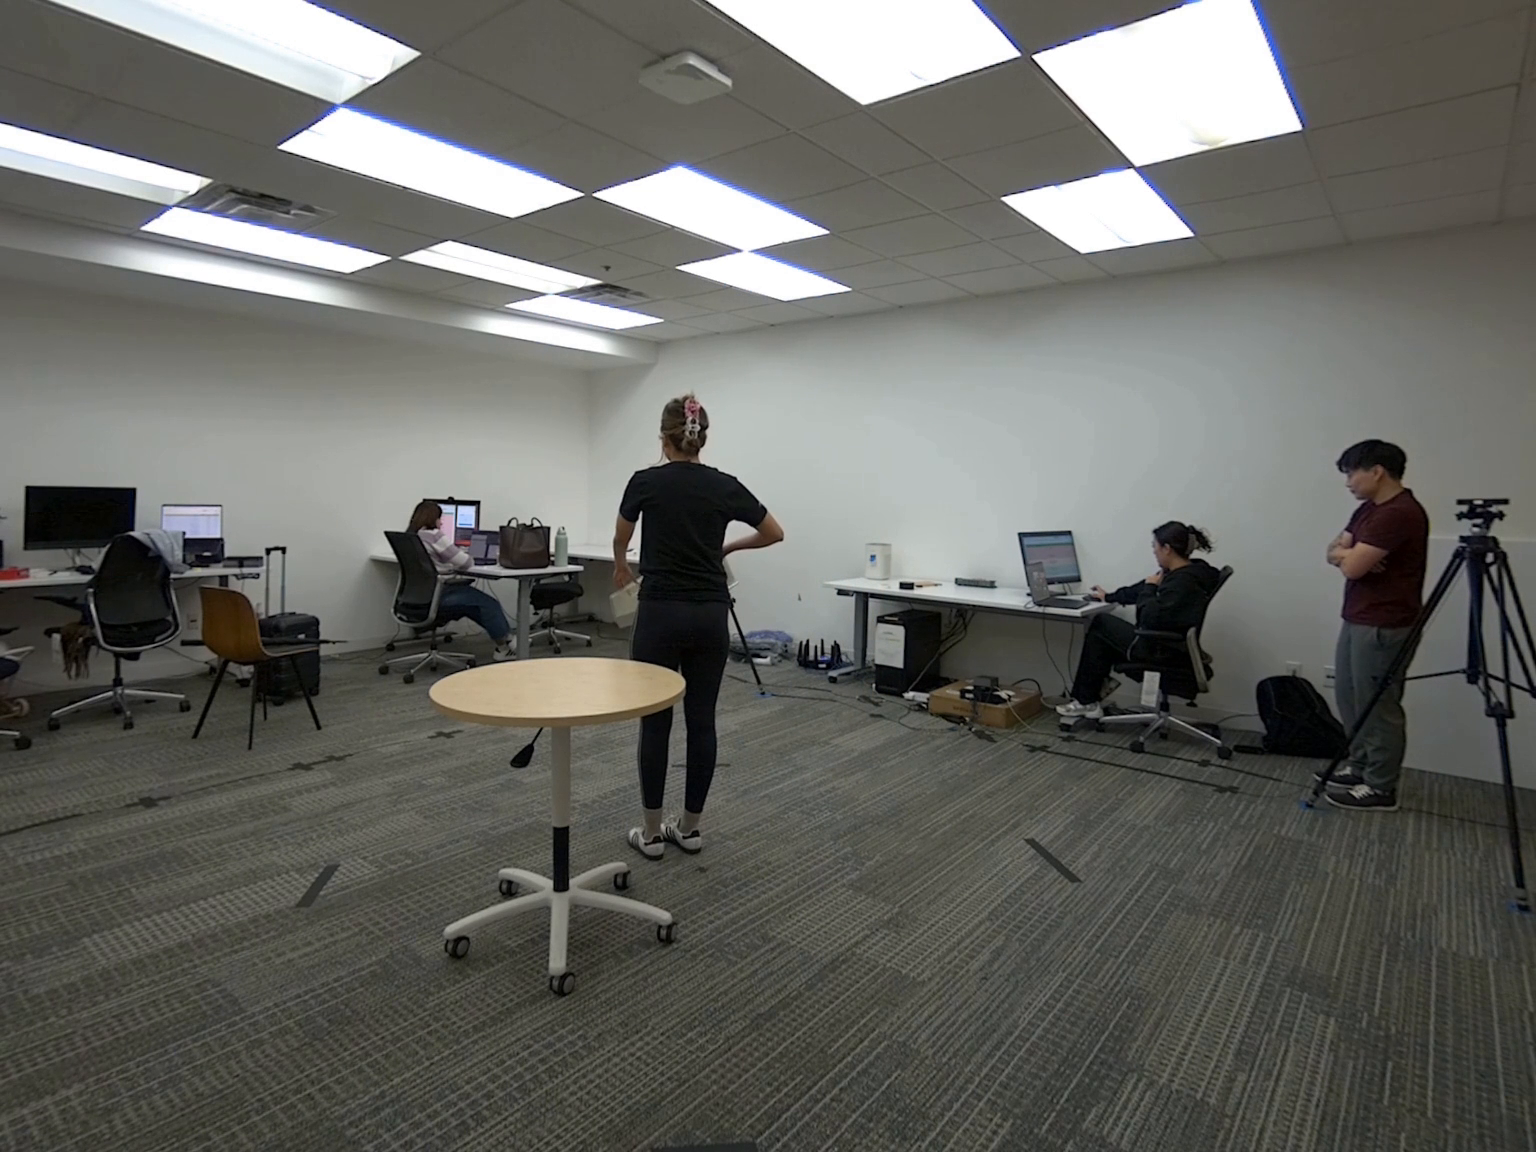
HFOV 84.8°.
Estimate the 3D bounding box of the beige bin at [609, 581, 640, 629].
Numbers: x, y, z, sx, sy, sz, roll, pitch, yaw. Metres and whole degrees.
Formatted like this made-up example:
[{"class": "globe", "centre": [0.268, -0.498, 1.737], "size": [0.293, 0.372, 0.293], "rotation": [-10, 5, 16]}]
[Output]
[{"class": "beige bin", "centre": [-0.414, 0.061, 3.632], "size": [0.431, 0.187, 0.372], "rotation": [-18, 10, 40]}]
